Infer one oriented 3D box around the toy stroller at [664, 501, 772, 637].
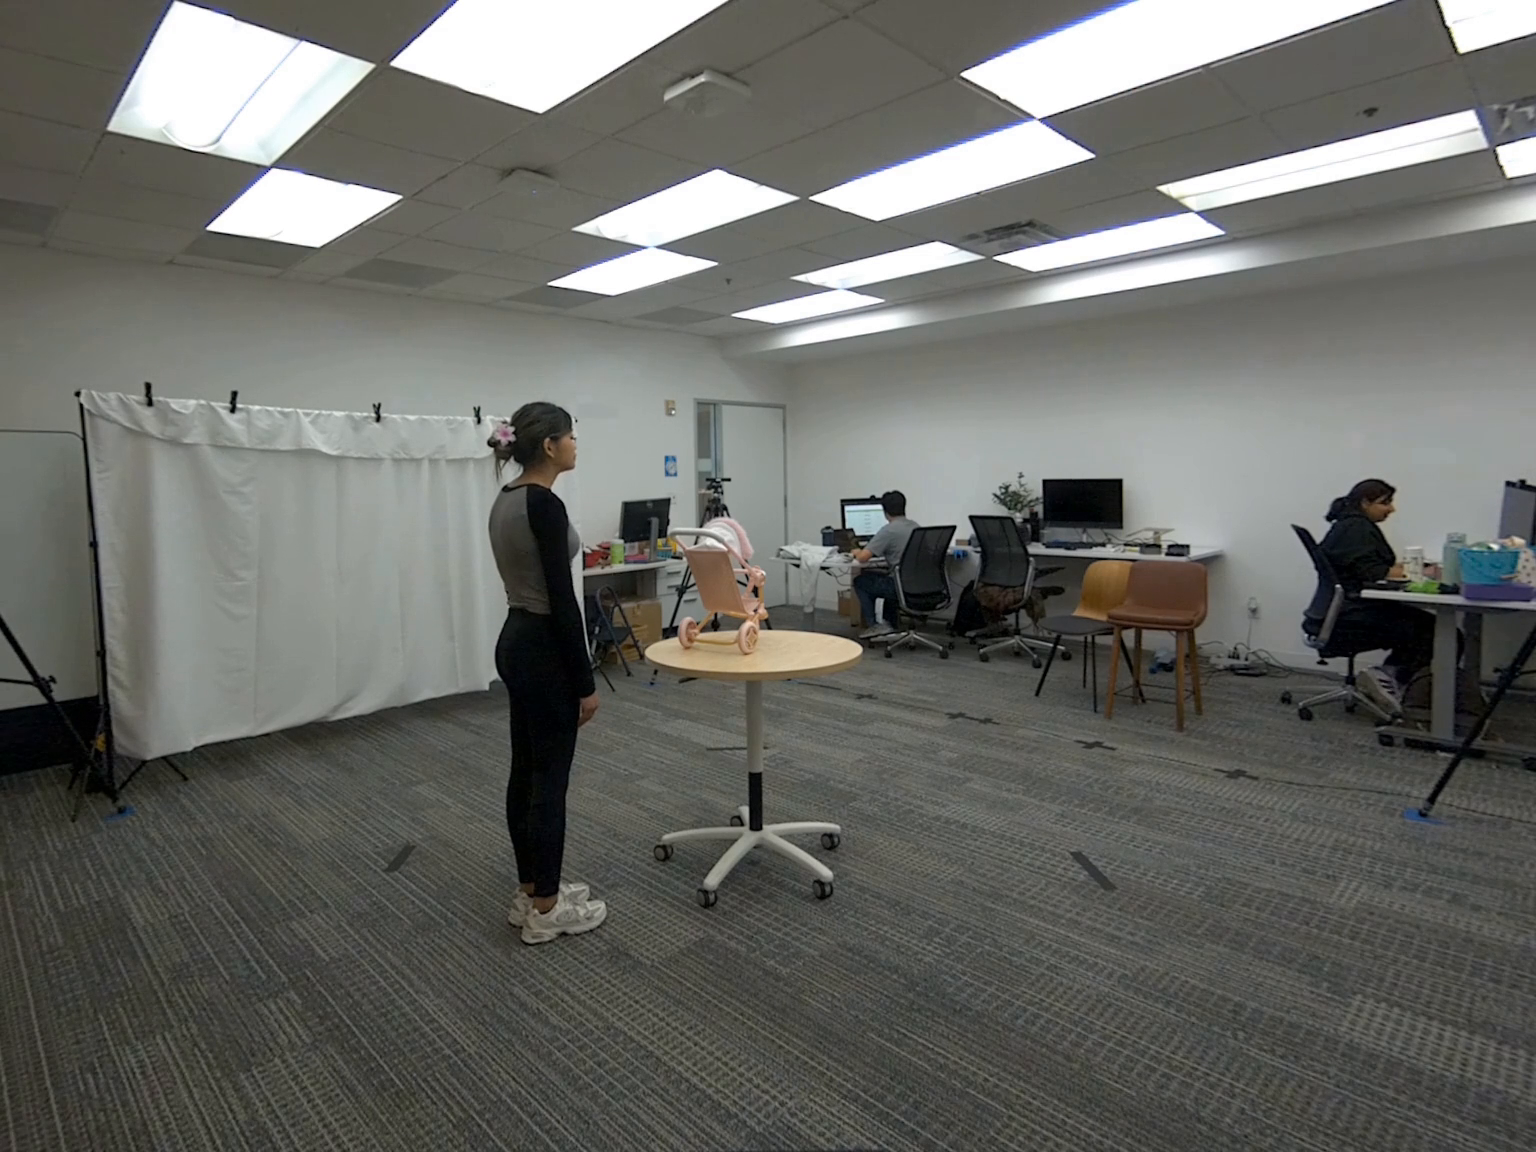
[{"bbox_3d":[-0.146,0.032,3.045,0.289,0.526,0.337,2,20,34],"label":"toy stroller"}]
